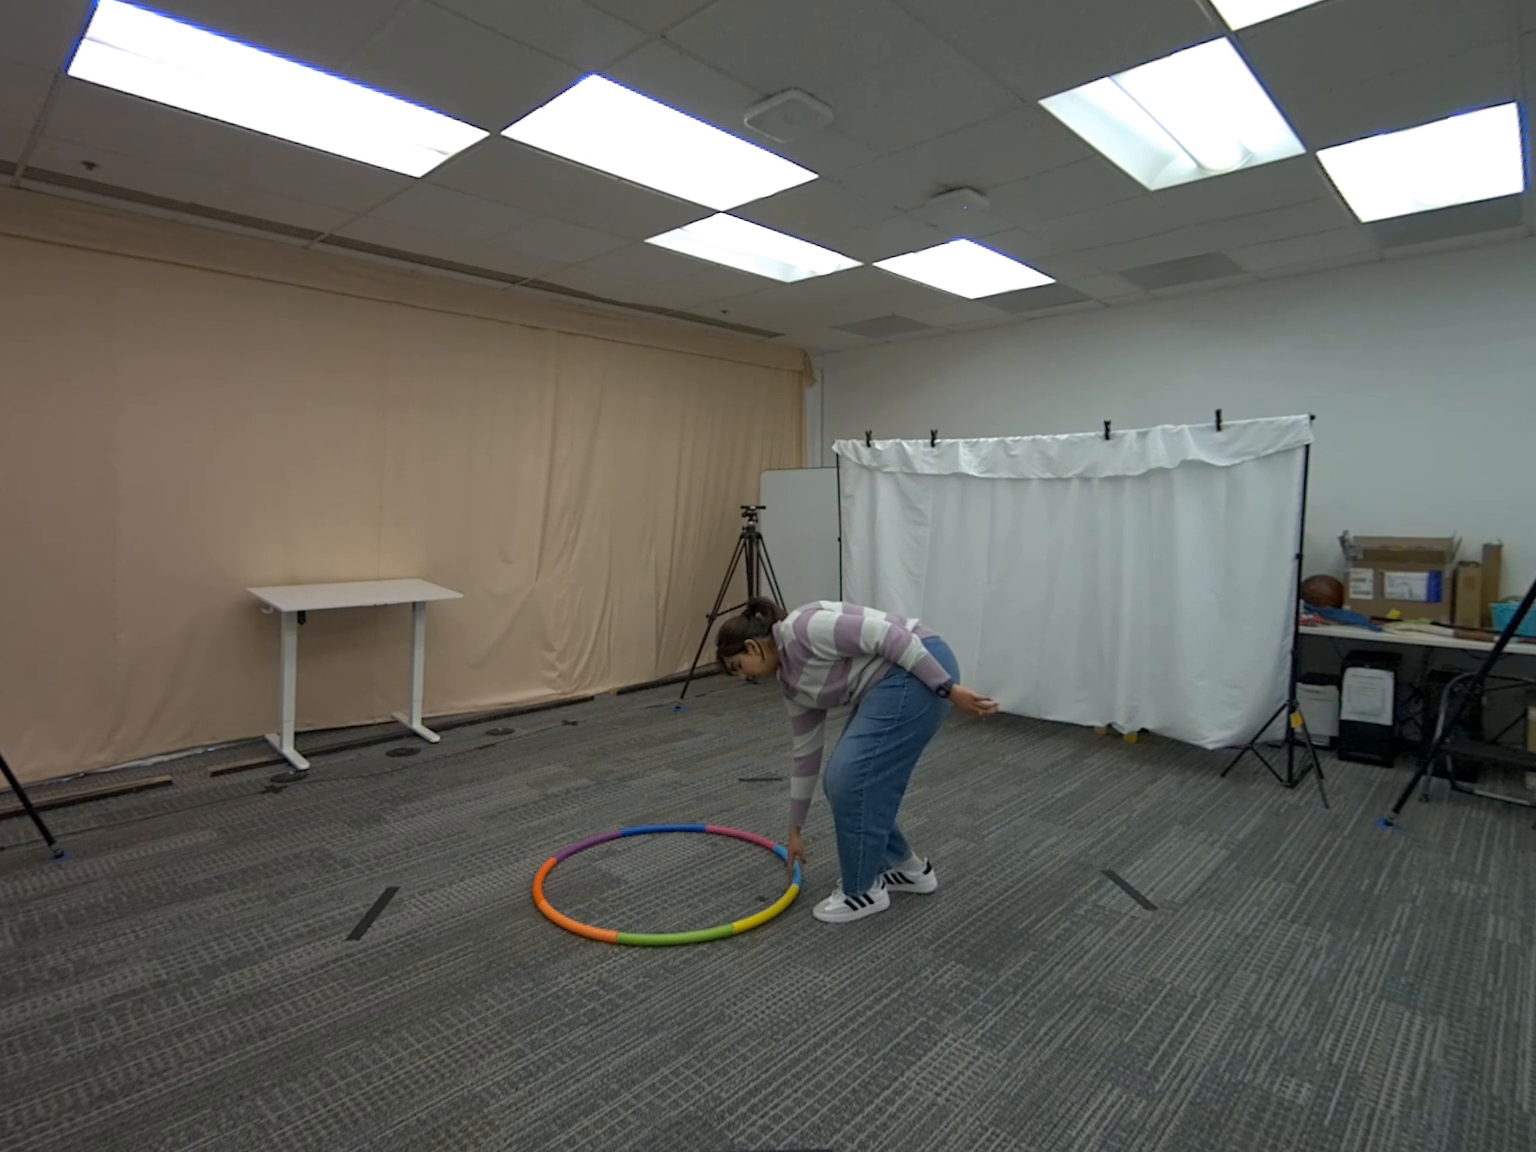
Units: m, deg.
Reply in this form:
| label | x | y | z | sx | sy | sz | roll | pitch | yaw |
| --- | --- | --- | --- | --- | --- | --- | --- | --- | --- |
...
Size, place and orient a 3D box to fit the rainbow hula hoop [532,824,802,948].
| label | x | y | z | sx | sy | sz | roll | pitch | yaw |
| --- | --- | --- | --- | --- | --- | --- | --- | --- | --- |
| rainbow hula hoop | -0.365 | 1.097 | 3.130 | 0.978 | 0.035 | 0.982 | -1 | 4 | -2 |
